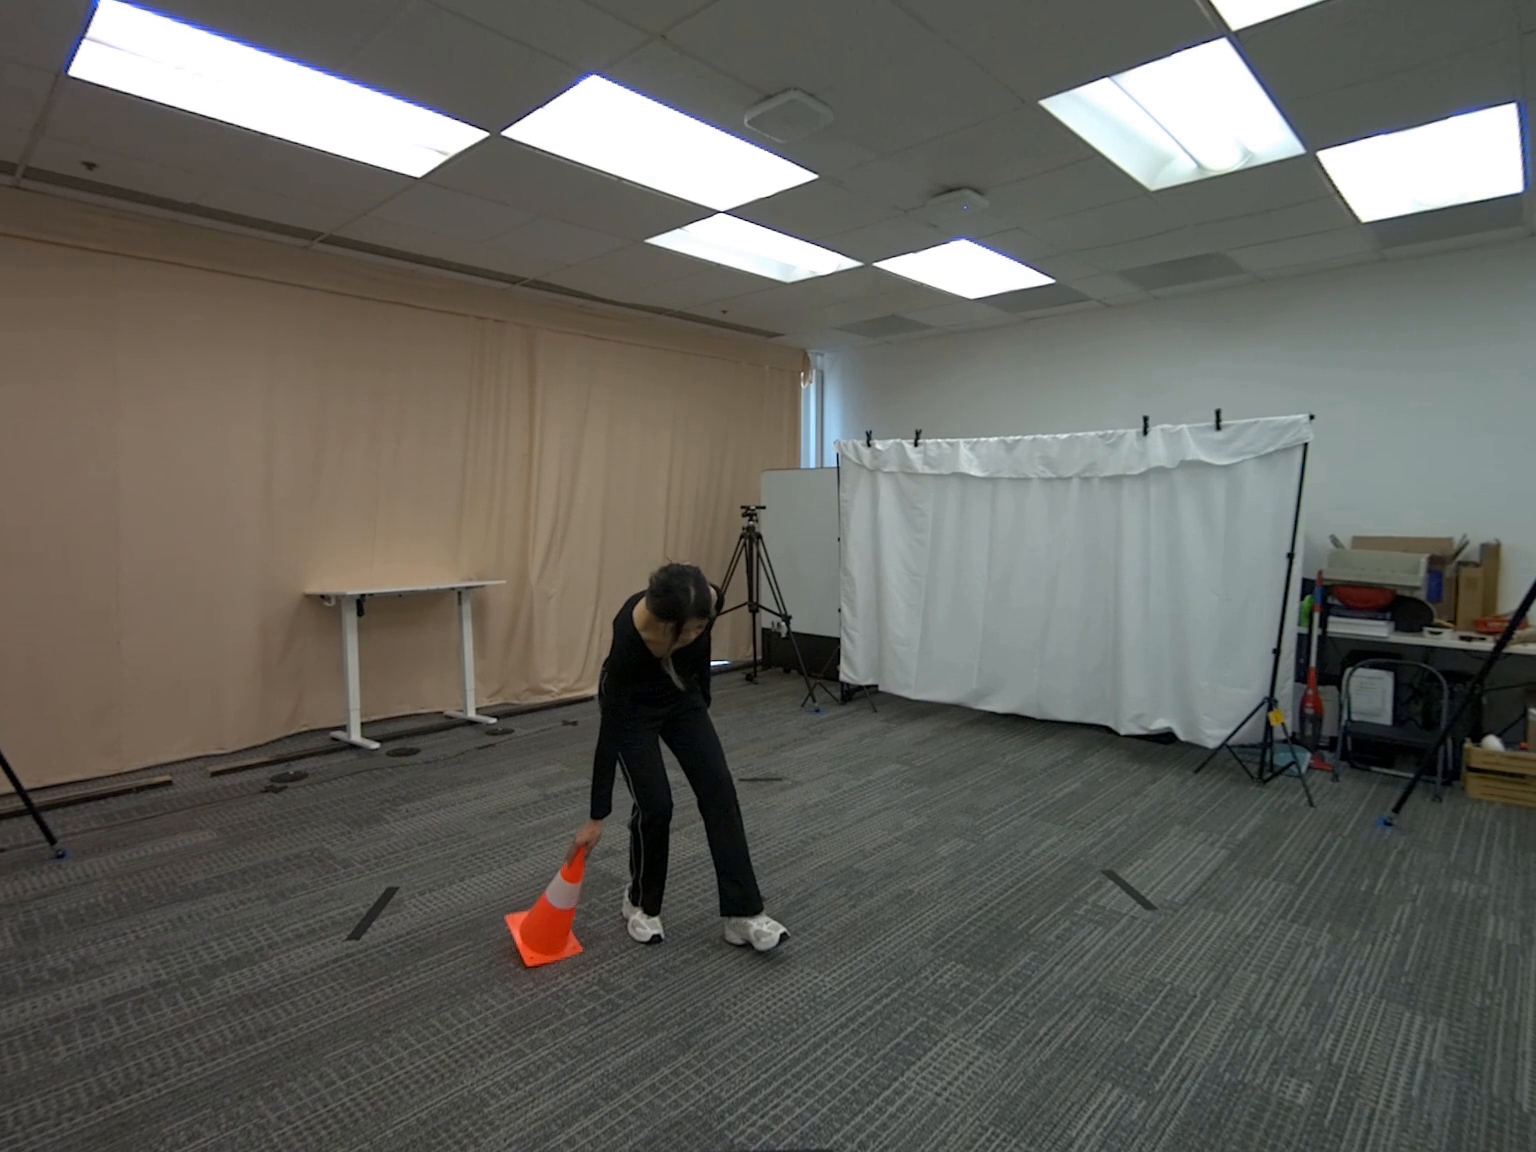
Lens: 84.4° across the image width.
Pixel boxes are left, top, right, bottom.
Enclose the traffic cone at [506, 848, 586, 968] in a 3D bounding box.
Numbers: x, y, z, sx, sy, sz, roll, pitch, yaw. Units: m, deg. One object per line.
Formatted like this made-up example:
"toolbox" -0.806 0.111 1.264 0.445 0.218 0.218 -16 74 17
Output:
"traffic cone" -0.631 0.980 2.591 0.198 0.382 0.211 8 21 -38
